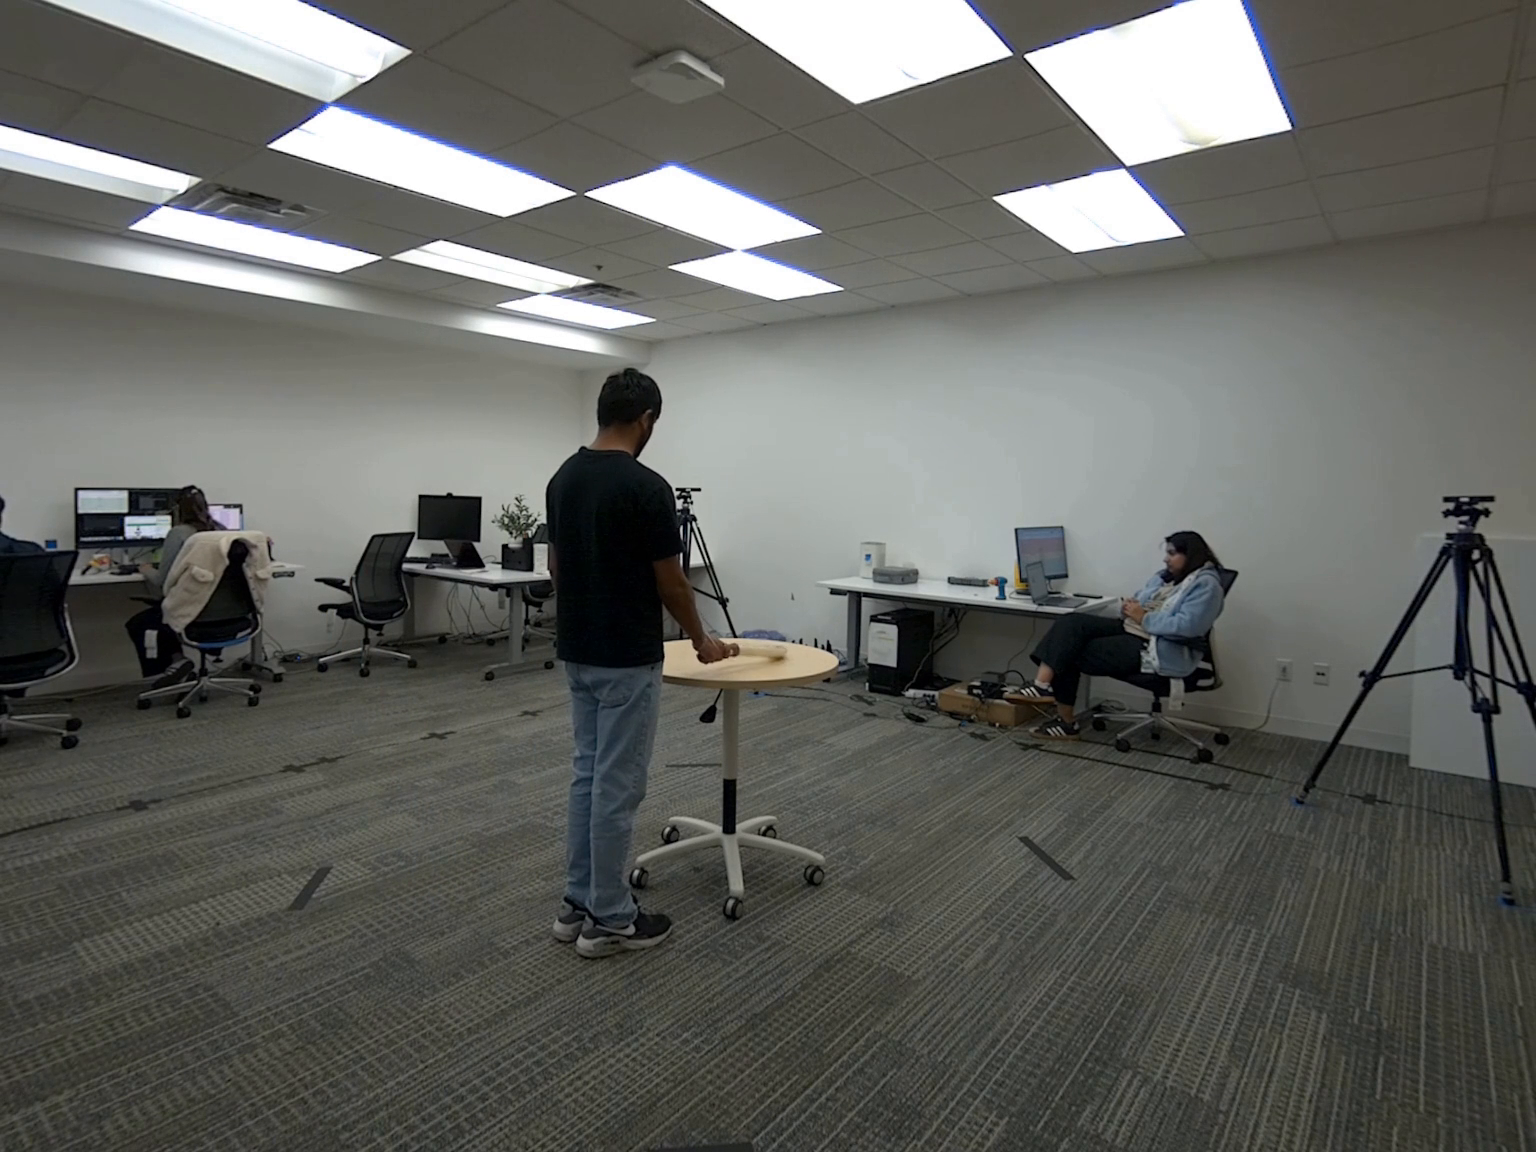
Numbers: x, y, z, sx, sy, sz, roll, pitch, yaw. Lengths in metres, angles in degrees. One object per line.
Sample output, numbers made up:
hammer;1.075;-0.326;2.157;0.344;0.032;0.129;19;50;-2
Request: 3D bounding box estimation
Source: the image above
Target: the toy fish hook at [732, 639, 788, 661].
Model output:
toy fish hook;-0.139;0.248;2.962;0.231;0.048;0.489;1;-4;34
